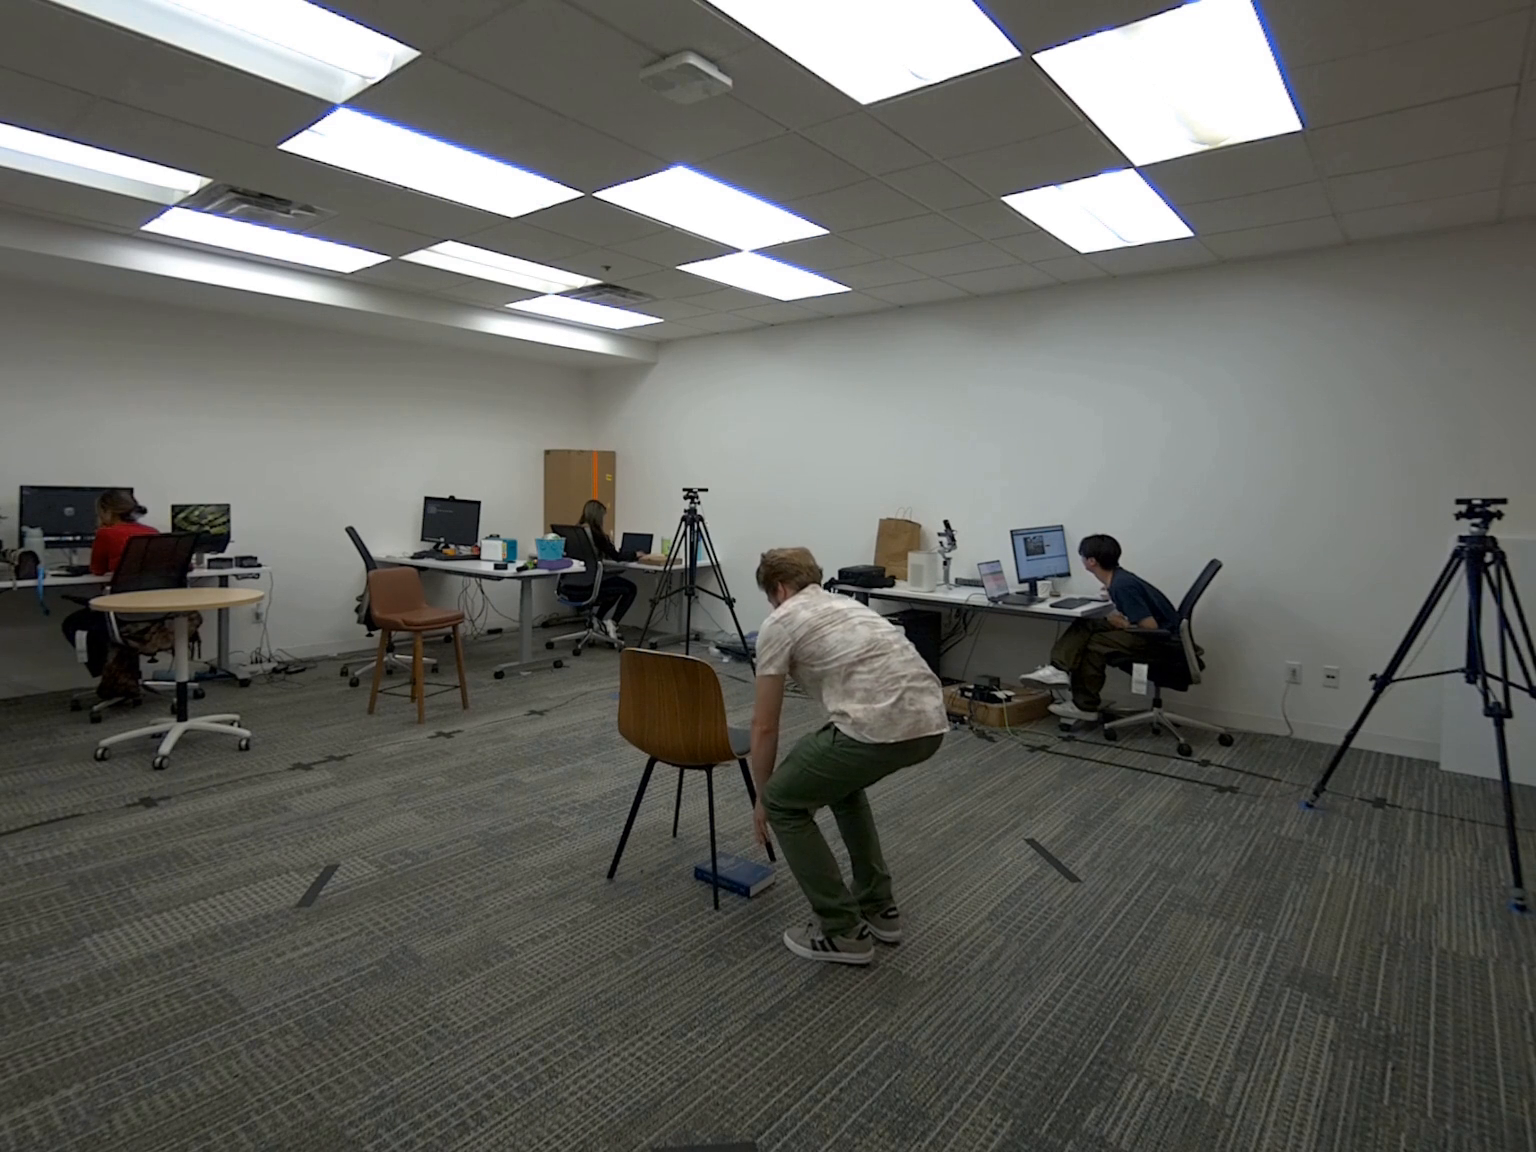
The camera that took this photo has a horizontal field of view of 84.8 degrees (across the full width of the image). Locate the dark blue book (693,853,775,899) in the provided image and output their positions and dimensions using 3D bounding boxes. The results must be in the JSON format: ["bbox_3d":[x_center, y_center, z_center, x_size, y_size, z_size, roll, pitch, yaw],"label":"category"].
[{"bbox_3d":[-0.126,1.054,3.019,0.253,0.045,0.159,5,6,36],"label":"dark blue book"}]
